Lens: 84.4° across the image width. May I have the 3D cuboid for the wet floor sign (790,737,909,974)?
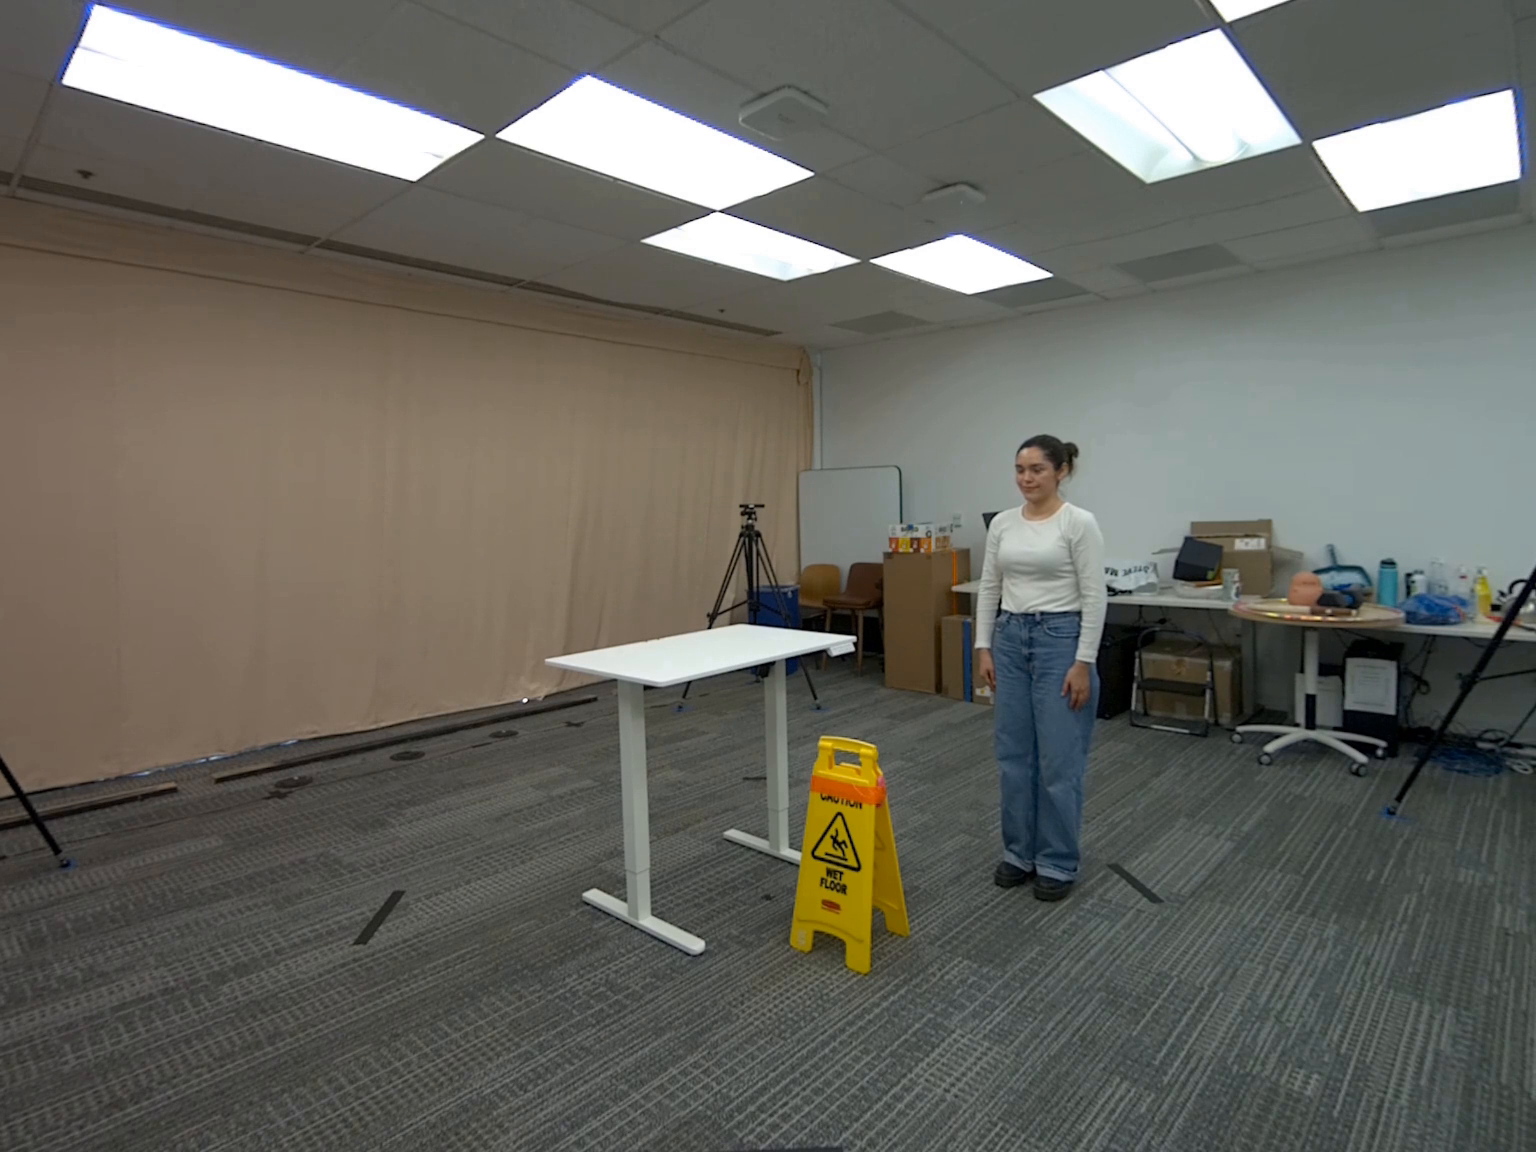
[{"bbox_3d":[0.265,0.841,2.659,0.291,0.645,0.281,2,4,37],"label":"wet floor sign"}]
